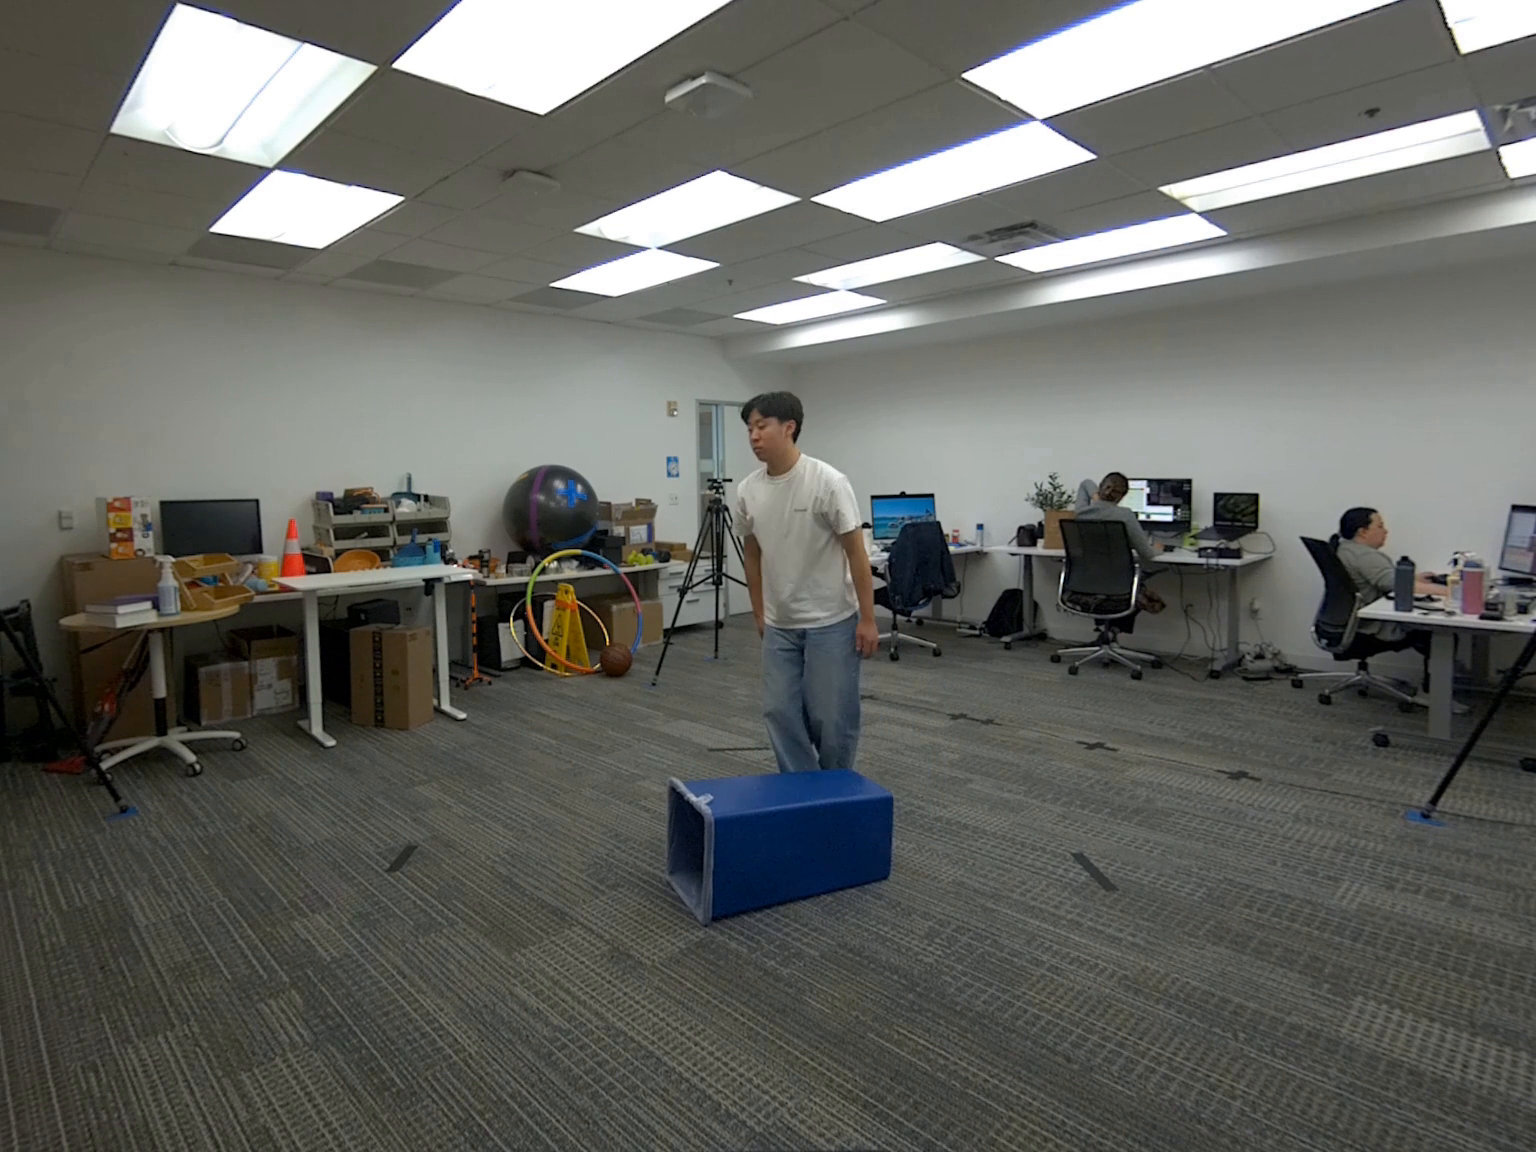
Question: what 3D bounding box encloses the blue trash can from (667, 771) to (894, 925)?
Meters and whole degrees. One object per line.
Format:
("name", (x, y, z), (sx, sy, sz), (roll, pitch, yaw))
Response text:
("blue trash can", (0.045, 0.897, 2.949), (0.698, 0.373, 0.387), (0, 4, -24))
